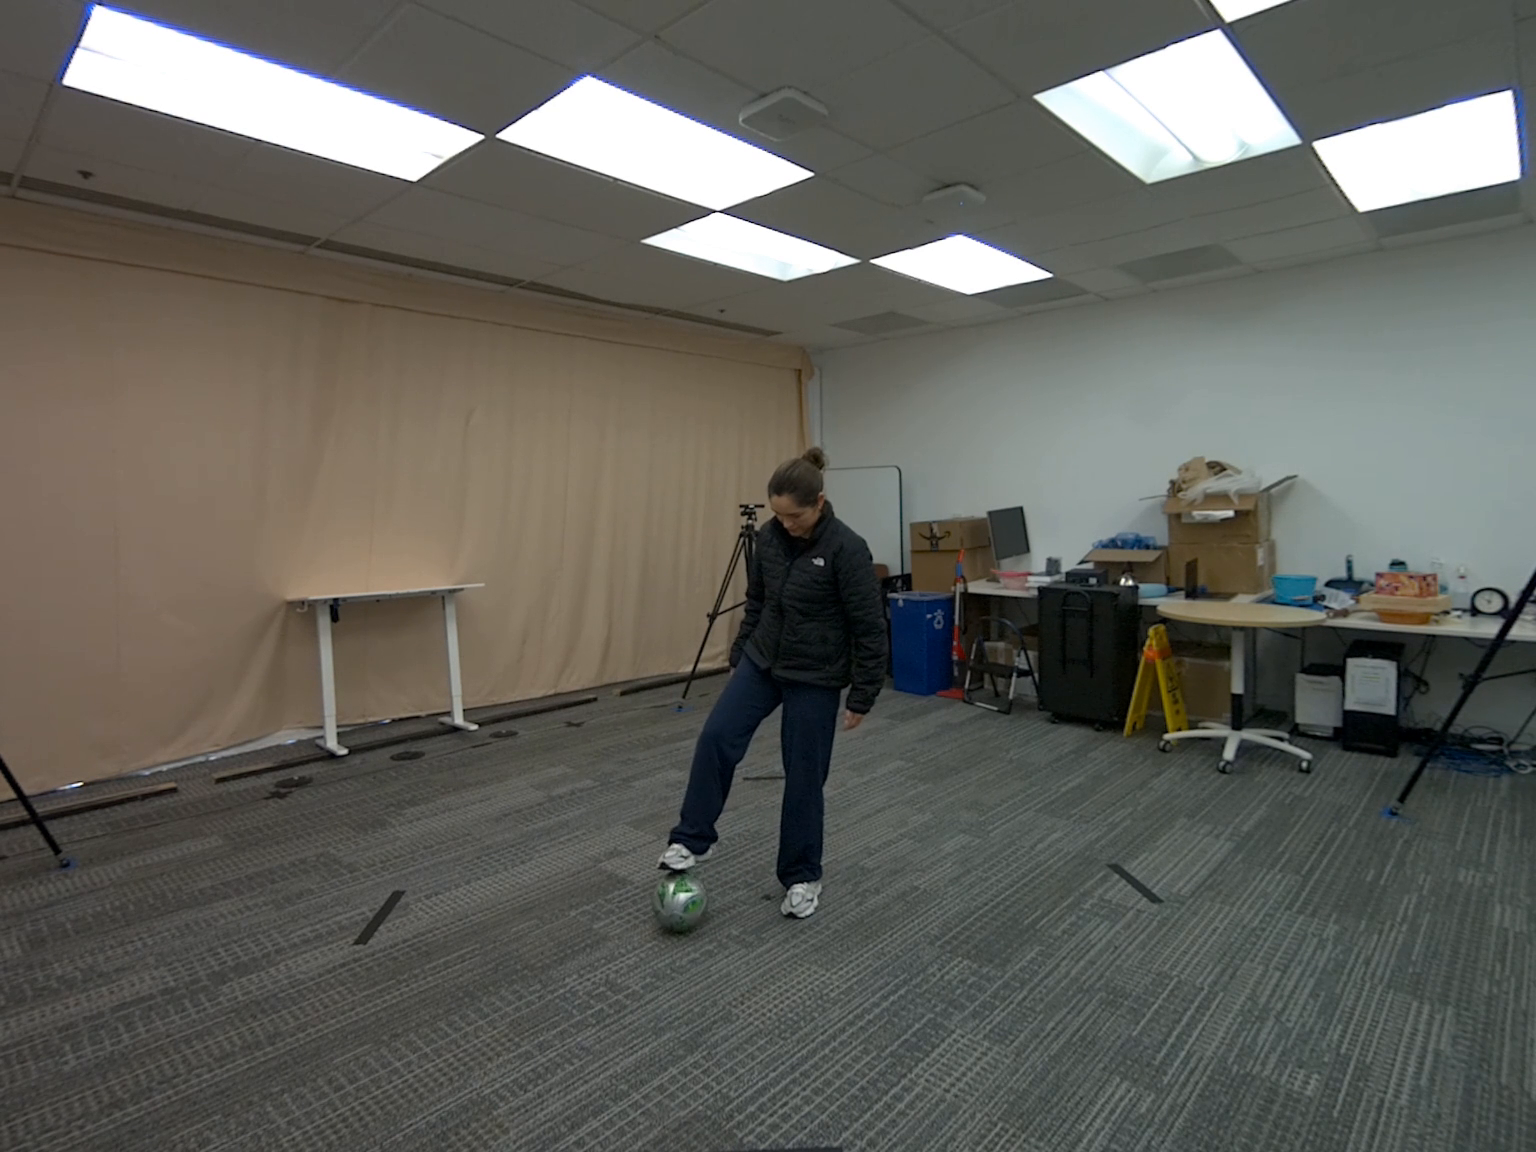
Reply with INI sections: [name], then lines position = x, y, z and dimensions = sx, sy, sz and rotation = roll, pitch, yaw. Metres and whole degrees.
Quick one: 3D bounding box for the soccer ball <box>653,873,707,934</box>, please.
[soccer ball]
position = -0.288, 1.060, 2.777
dimensions = 0.187, 0.187, 0.188
rotation = -1, 4, -2
